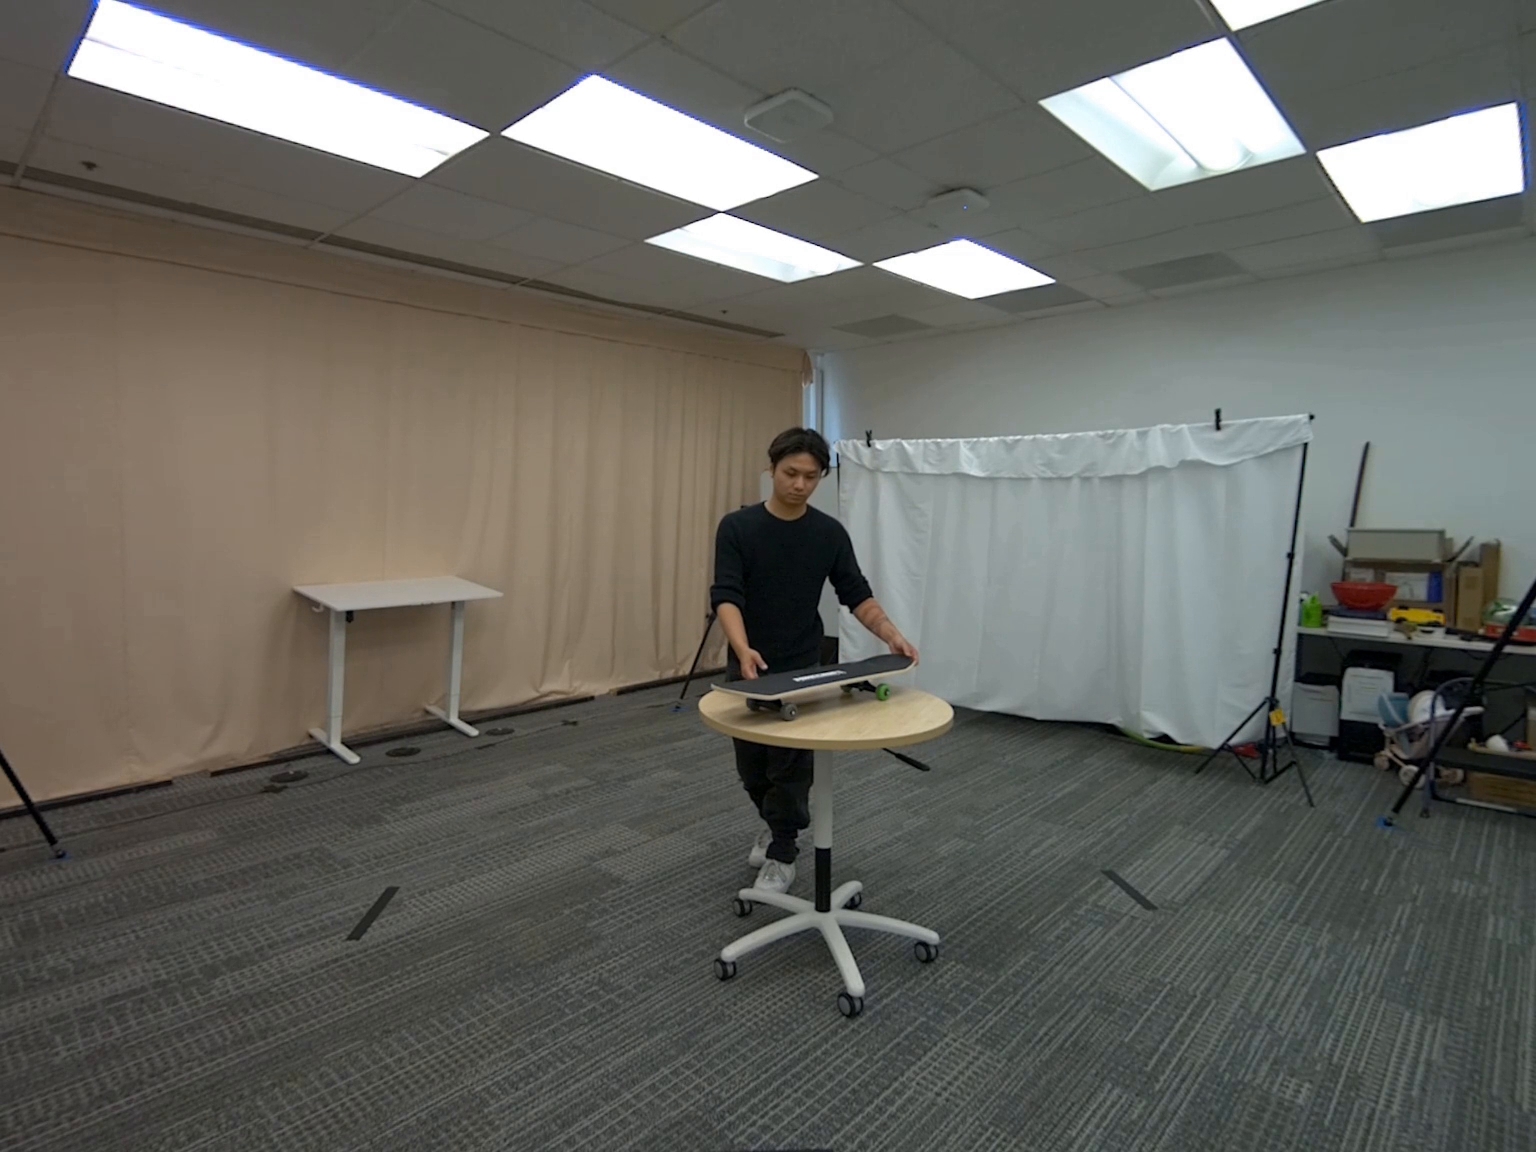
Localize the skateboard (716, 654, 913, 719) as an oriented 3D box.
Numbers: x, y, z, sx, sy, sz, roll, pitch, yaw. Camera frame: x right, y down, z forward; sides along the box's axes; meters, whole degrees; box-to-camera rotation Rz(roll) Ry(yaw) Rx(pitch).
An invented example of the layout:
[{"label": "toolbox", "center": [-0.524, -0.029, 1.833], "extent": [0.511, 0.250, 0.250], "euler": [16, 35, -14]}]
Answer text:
[{"label": "skateboard", "center": [0.156, 0.343, 2.565], "extent": [0.762, 0.110, 0.200], "euler": [-5, 7, -39]}]
